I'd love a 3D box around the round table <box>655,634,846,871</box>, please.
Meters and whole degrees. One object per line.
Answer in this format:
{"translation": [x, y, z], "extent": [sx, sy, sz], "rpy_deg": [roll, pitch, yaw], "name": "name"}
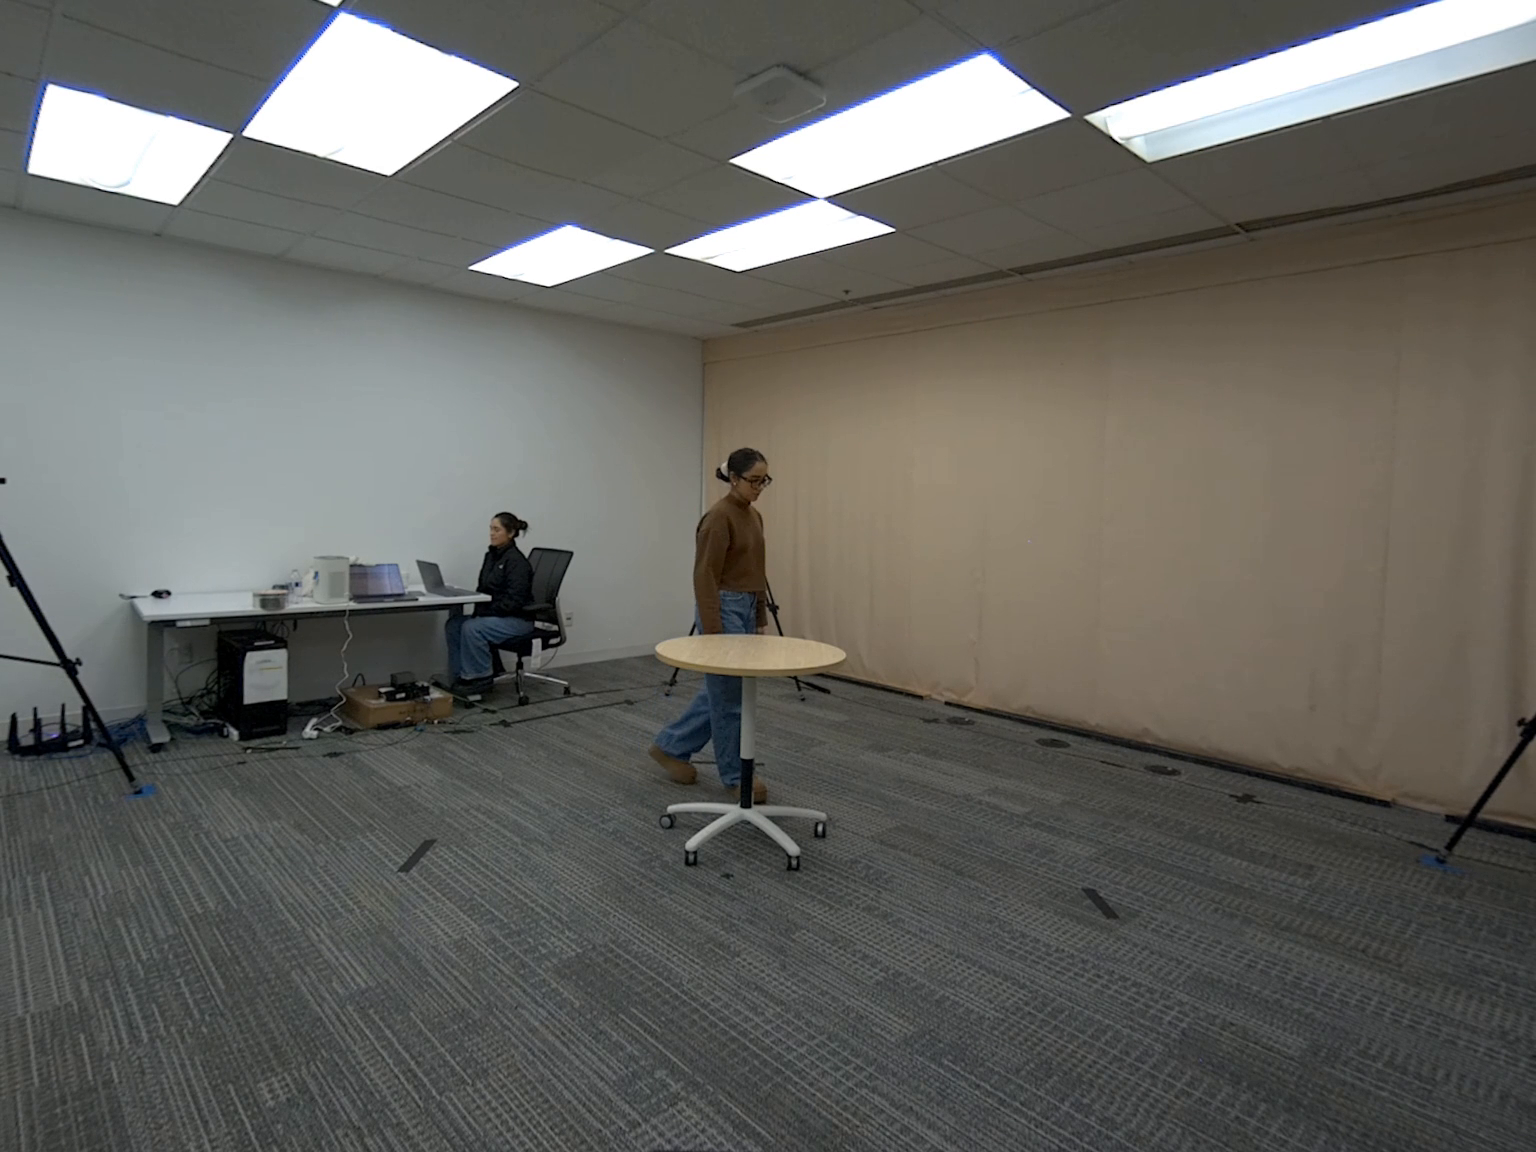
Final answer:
{"translation": [-0.089, 0.692, 3.404], "extent": [0.763, 0.792, 0.766], "rpy_deg": [1, 4, -1], "name": "round table"}
